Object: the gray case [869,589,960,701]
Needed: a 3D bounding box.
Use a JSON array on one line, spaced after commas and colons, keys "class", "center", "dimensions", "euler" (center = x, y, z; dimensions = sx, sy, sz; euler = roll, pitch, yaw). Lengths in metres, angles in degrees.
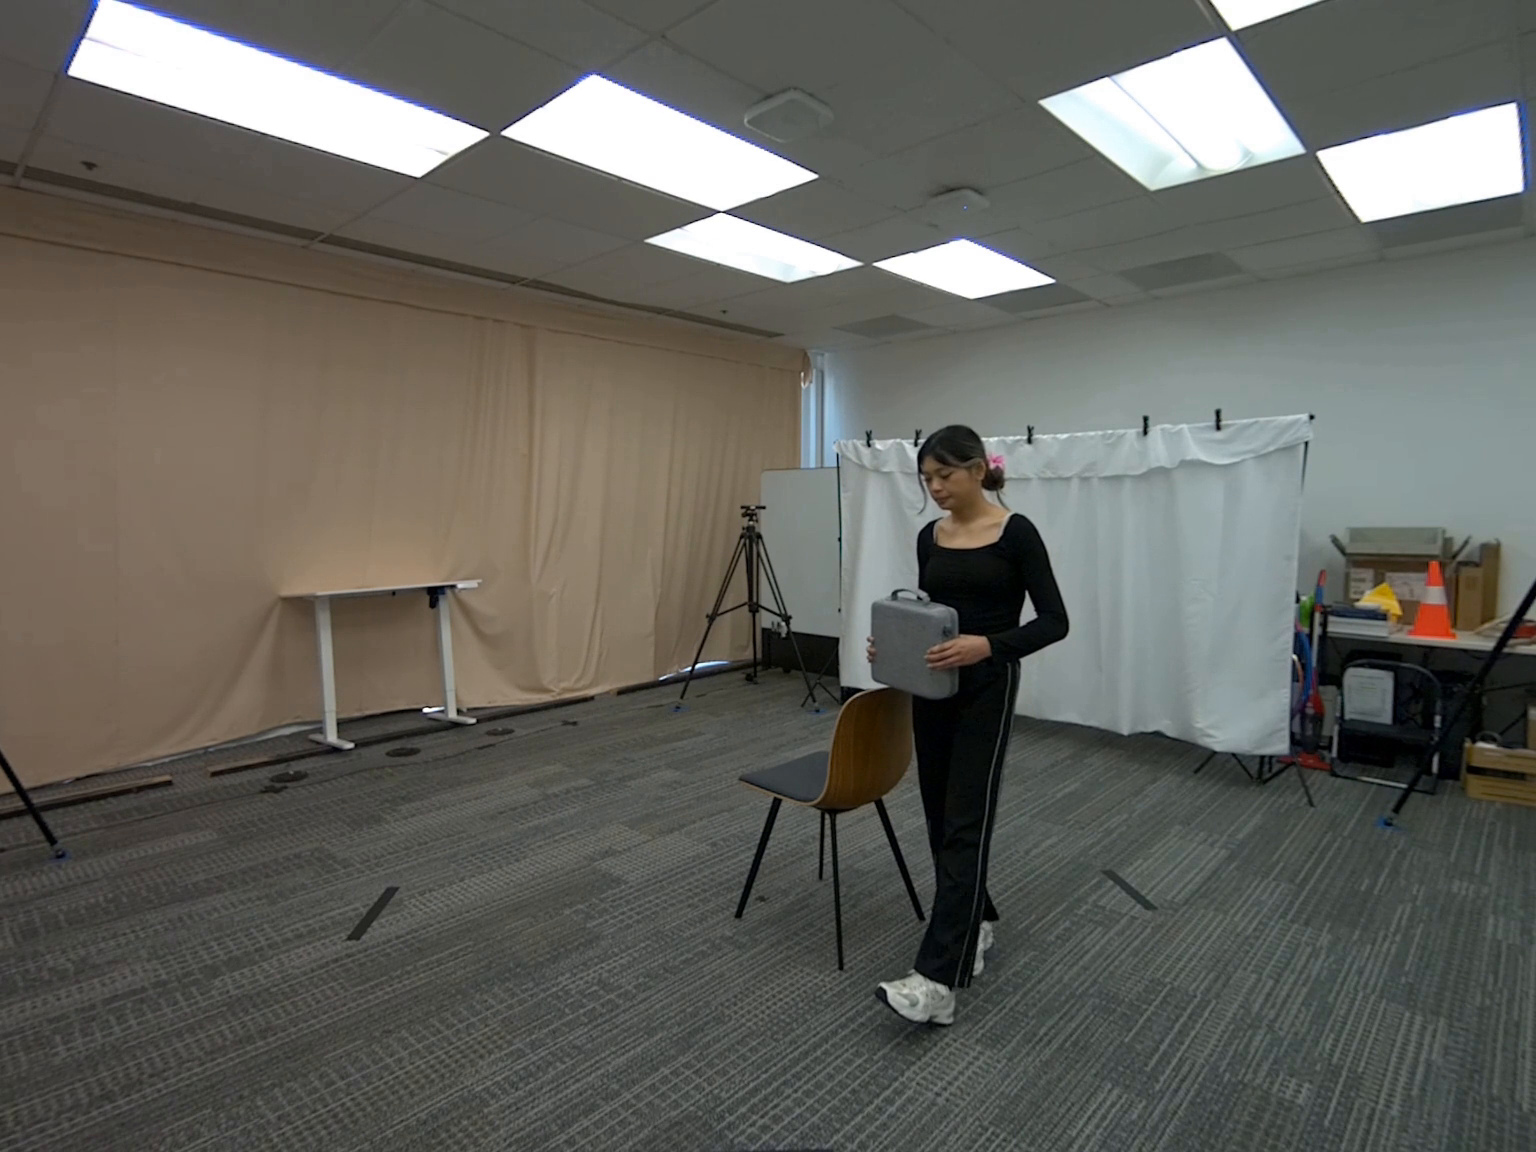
[{"class": "gray case", "center": [0.405, 0.195, 2.358], "dimensions": [0.101, 0.259, 0.266], "euler": [-10, 12, -38]}]
